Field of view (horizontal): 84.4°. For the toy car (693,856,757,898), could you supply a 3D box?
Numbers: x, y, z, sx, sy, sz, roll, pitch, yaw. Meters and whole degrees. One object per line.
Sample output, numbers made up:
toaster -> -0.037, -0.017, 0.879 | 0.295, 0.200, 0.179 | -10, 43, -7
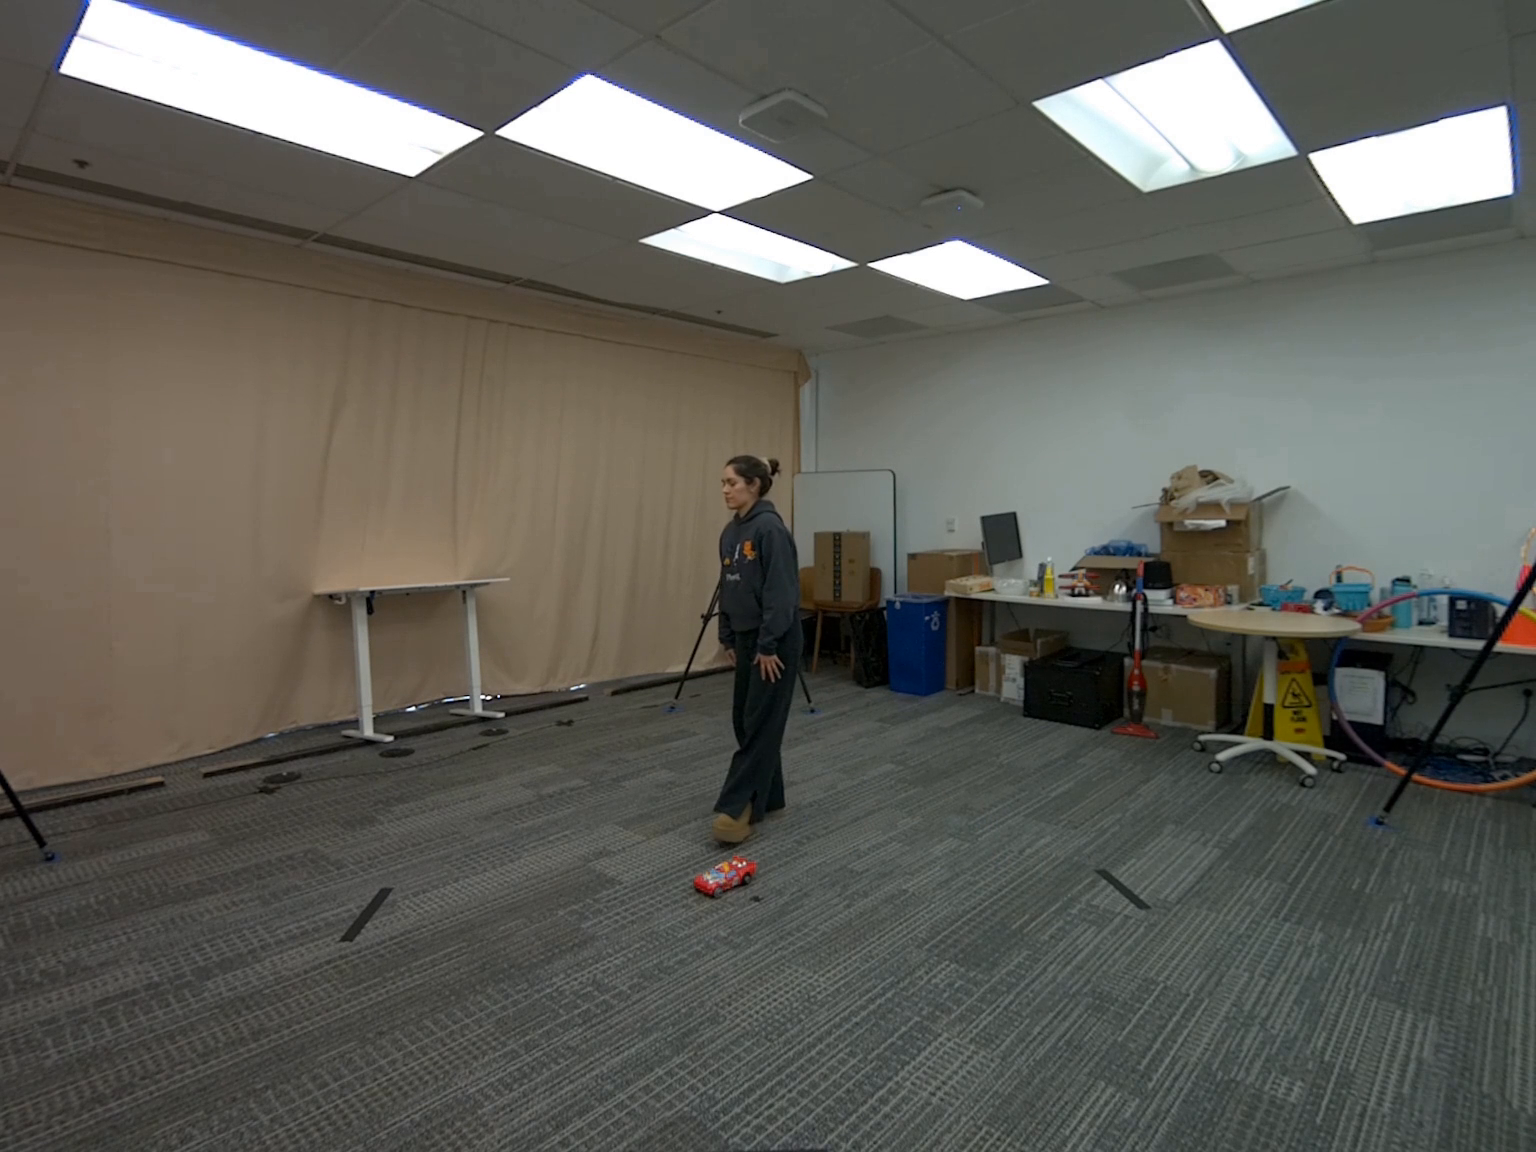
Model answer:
toy car -> -0.133, 1.101, 3.090 | 0.134, 0.082, 0.248 | 3, 17, 45
